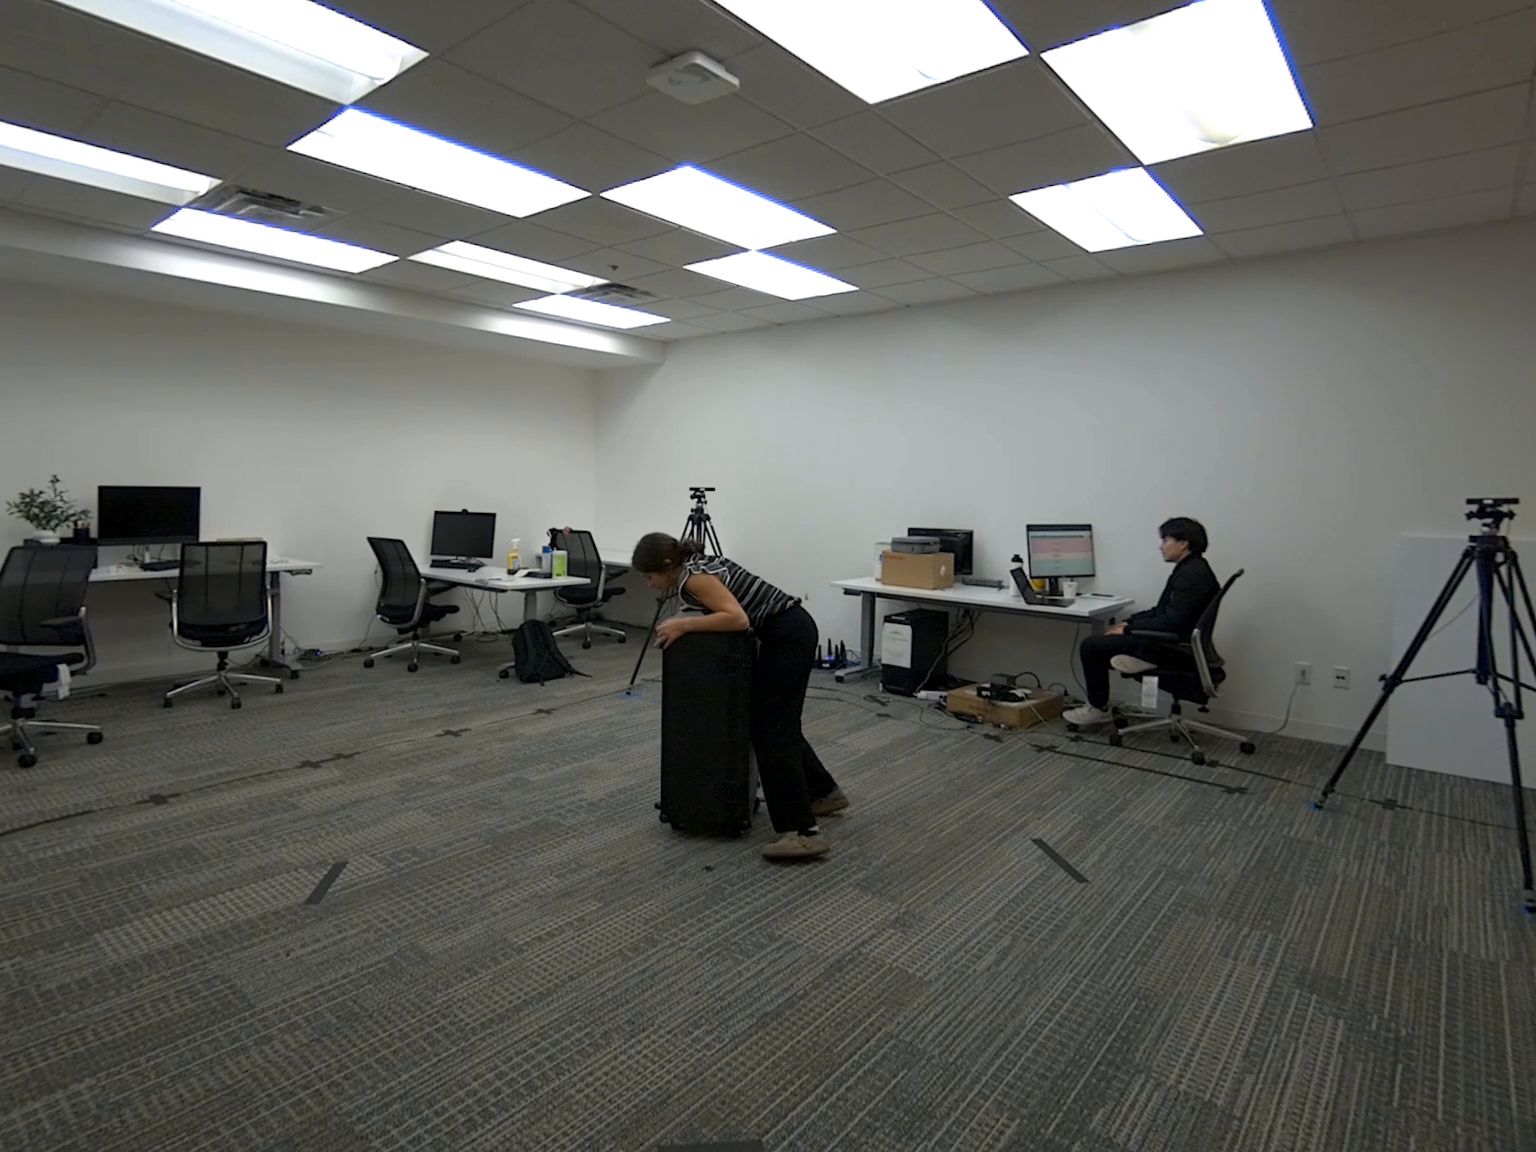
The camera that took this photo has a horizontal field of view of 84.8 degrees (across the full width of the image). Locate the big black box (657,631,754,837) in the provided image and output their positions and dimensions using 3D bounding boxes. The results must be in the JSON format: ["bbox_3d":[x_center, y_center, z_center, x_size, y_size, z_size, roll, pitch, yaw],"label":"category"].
[{"bbox_3d":[-0.258,0.607,3.551,0.399,0.859,0.519,1,3,5],"label":"big black box"}]
